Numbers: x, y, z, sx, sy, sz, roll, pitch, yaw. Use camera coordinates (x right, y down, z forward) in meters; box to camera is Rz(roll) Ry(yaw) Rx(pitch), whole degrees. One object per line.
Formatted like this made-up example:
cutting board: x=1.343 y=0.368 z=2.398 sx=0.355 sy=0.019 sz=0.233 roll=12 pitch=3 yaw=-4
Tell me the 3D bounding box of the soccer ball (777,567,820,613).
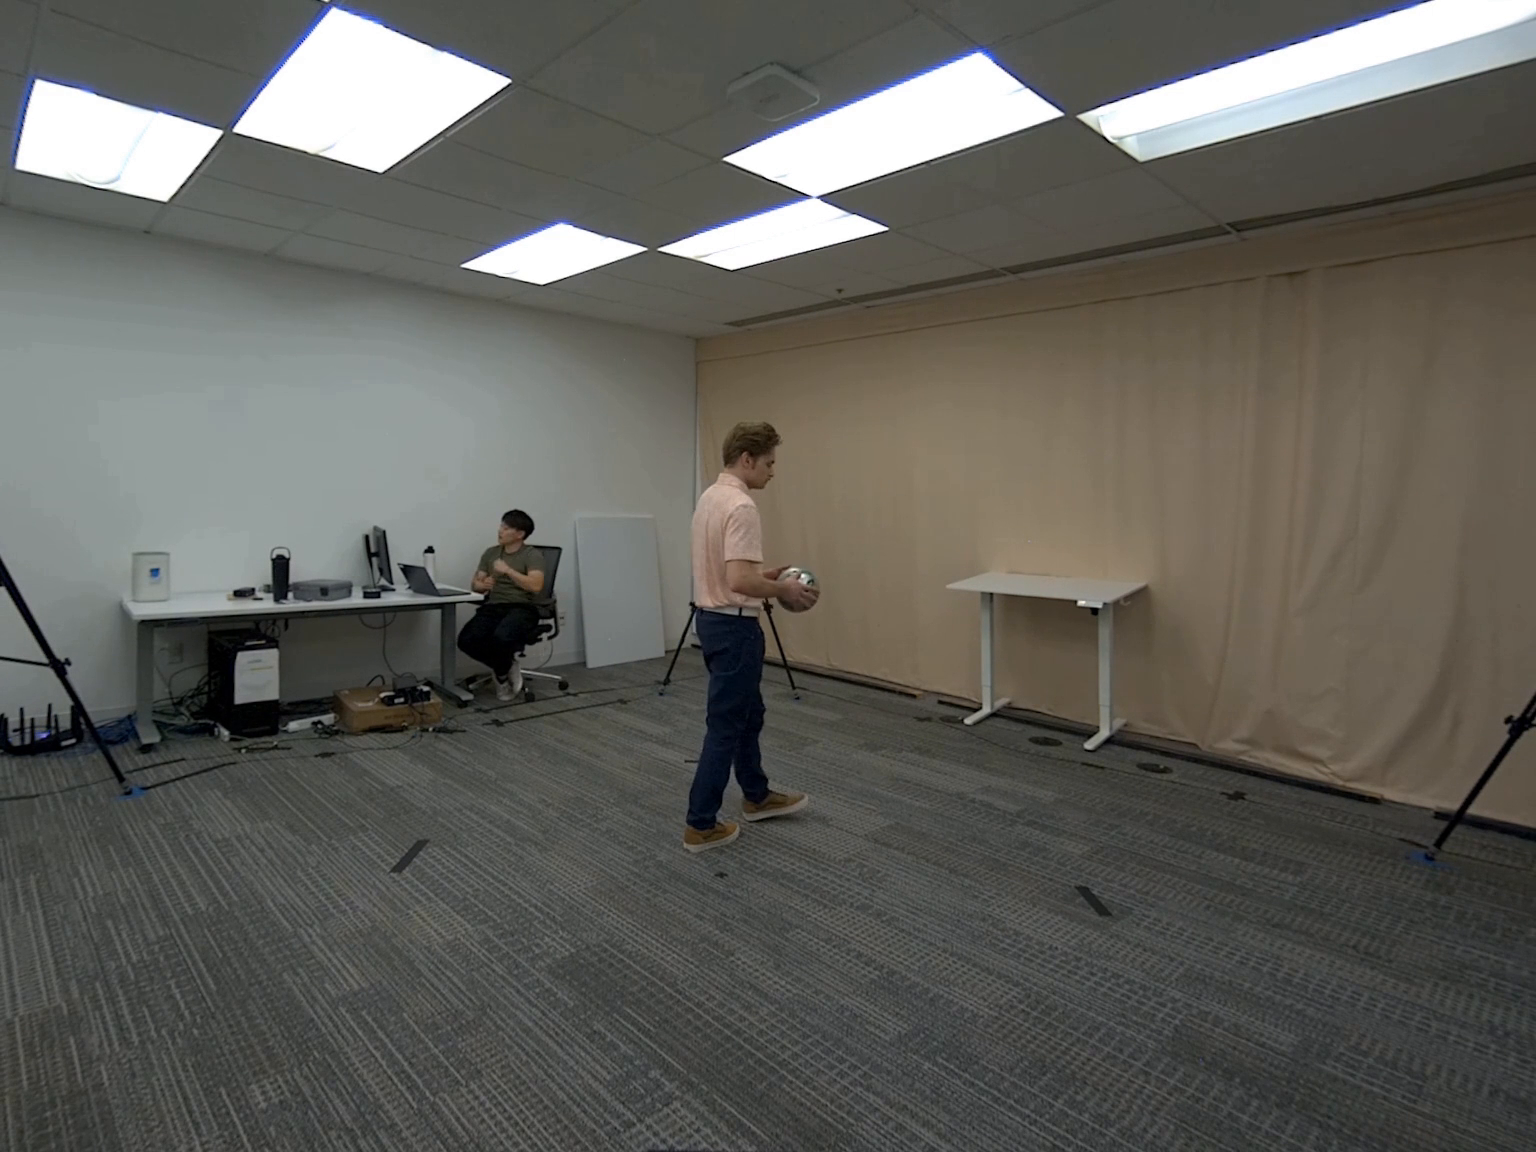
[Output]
soccer ball: x=0.102 y=0.050 z=3.427 sx=0.187 sy=0.187 sz=0.188 roll=1 pitch=4 yaw=-1
